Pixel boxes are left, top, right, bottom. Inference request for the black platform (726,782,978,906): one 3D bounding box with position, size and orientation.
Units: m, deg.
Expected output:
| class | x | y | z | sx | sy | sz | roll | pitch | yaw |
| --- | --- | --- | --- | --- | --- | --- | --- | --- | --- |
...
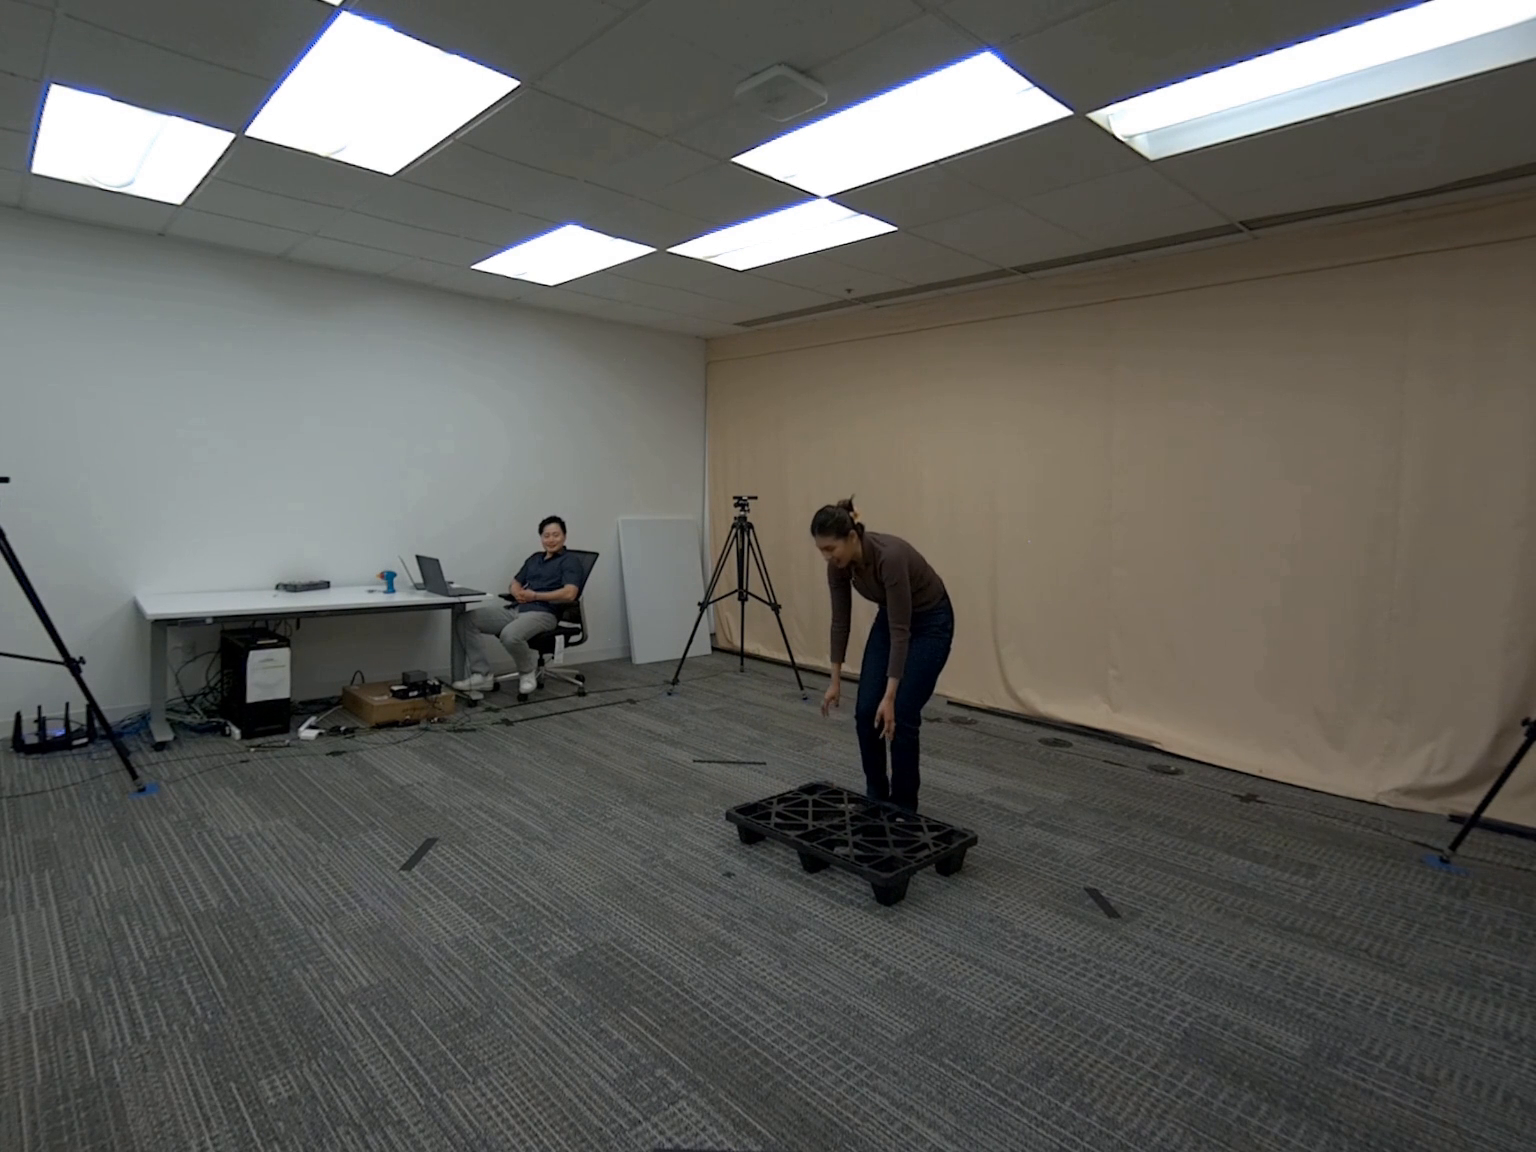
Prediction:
| class | x | y | z | sx | sy | sz | roll | pitch | yaw |
| --- | --- | --- | --- | --- | --- | --- | --- | --- | --- |
| black platform | 0.301 | 1.030 | 3.294 | 0.591 | 0.143 | 0.826 | -4 | 7 | -44 |
